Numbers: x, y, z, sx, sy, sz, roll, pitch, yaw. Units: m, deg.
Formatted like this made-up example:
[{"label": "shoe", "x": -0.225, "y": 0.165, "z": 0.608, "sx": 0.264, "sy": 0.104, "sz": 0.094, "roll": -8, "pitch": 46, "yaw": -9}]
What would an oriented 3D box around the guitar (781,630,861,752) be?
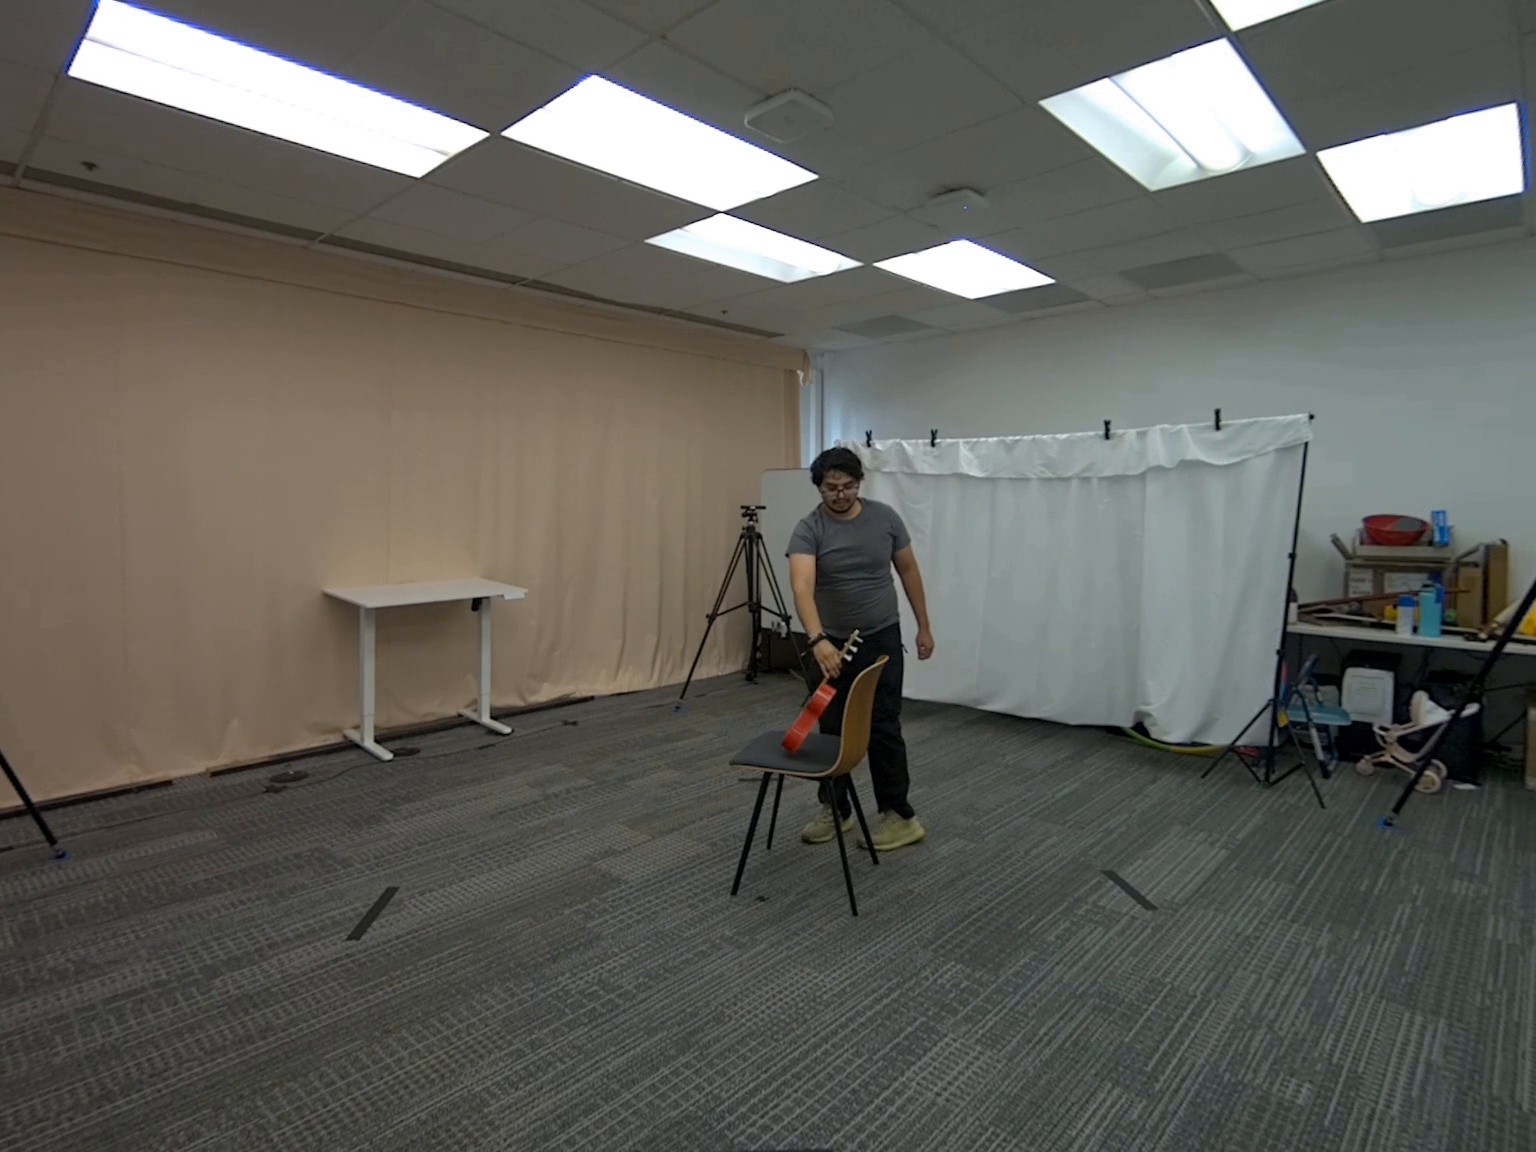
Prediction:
[{"label": "guitar", "x": 0.201, "y": 0.417, "z": 3.036, "sx": 0.071, "sy": 0.498, "sz": 0.190, "roll": 33, "pitch": 14, "yaw": 8}]
